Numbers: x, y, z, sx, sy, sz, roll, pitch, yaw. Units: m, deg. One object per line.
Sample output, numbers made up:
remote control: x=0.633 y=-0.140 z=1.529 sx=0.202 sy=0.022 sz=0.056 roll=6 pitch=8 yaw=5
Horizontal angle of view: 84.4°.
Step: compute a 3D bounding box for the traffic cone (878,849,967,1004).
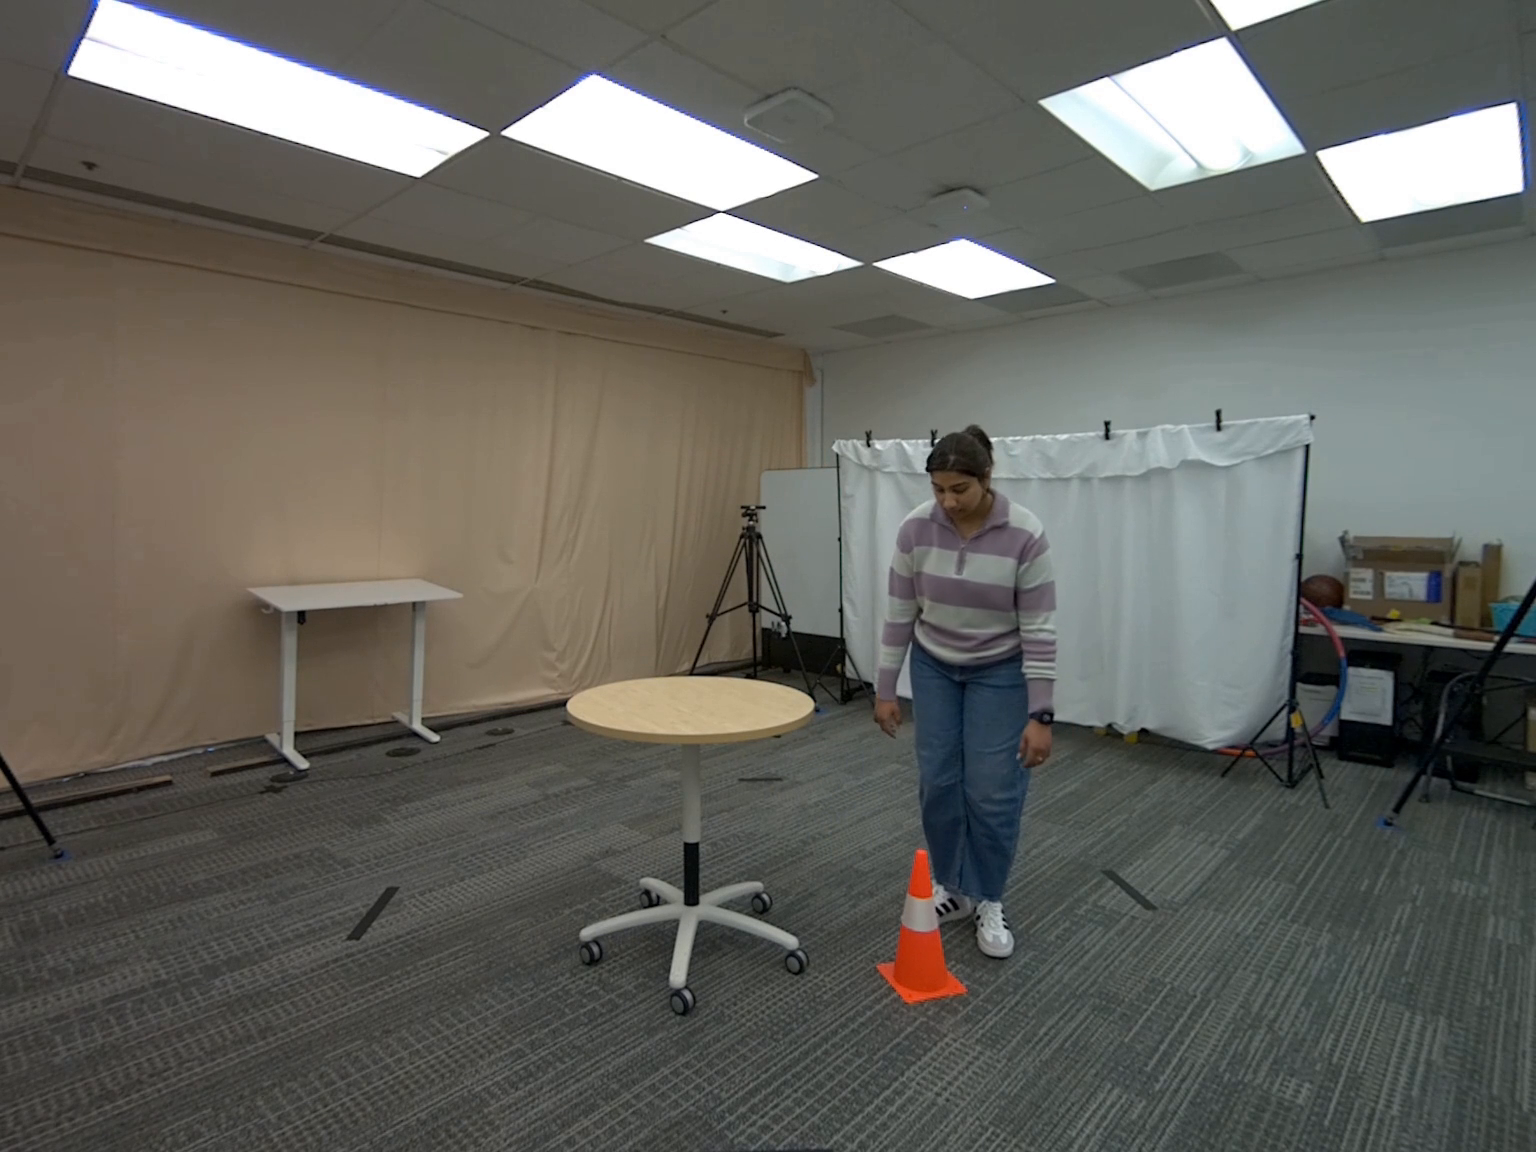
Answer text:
traffic cone: x=0.452 y=1.003 z=2.458 sx=0.200 sy=0.382 sz=0.209 roll=-4 pitch=5 yaw=-18
